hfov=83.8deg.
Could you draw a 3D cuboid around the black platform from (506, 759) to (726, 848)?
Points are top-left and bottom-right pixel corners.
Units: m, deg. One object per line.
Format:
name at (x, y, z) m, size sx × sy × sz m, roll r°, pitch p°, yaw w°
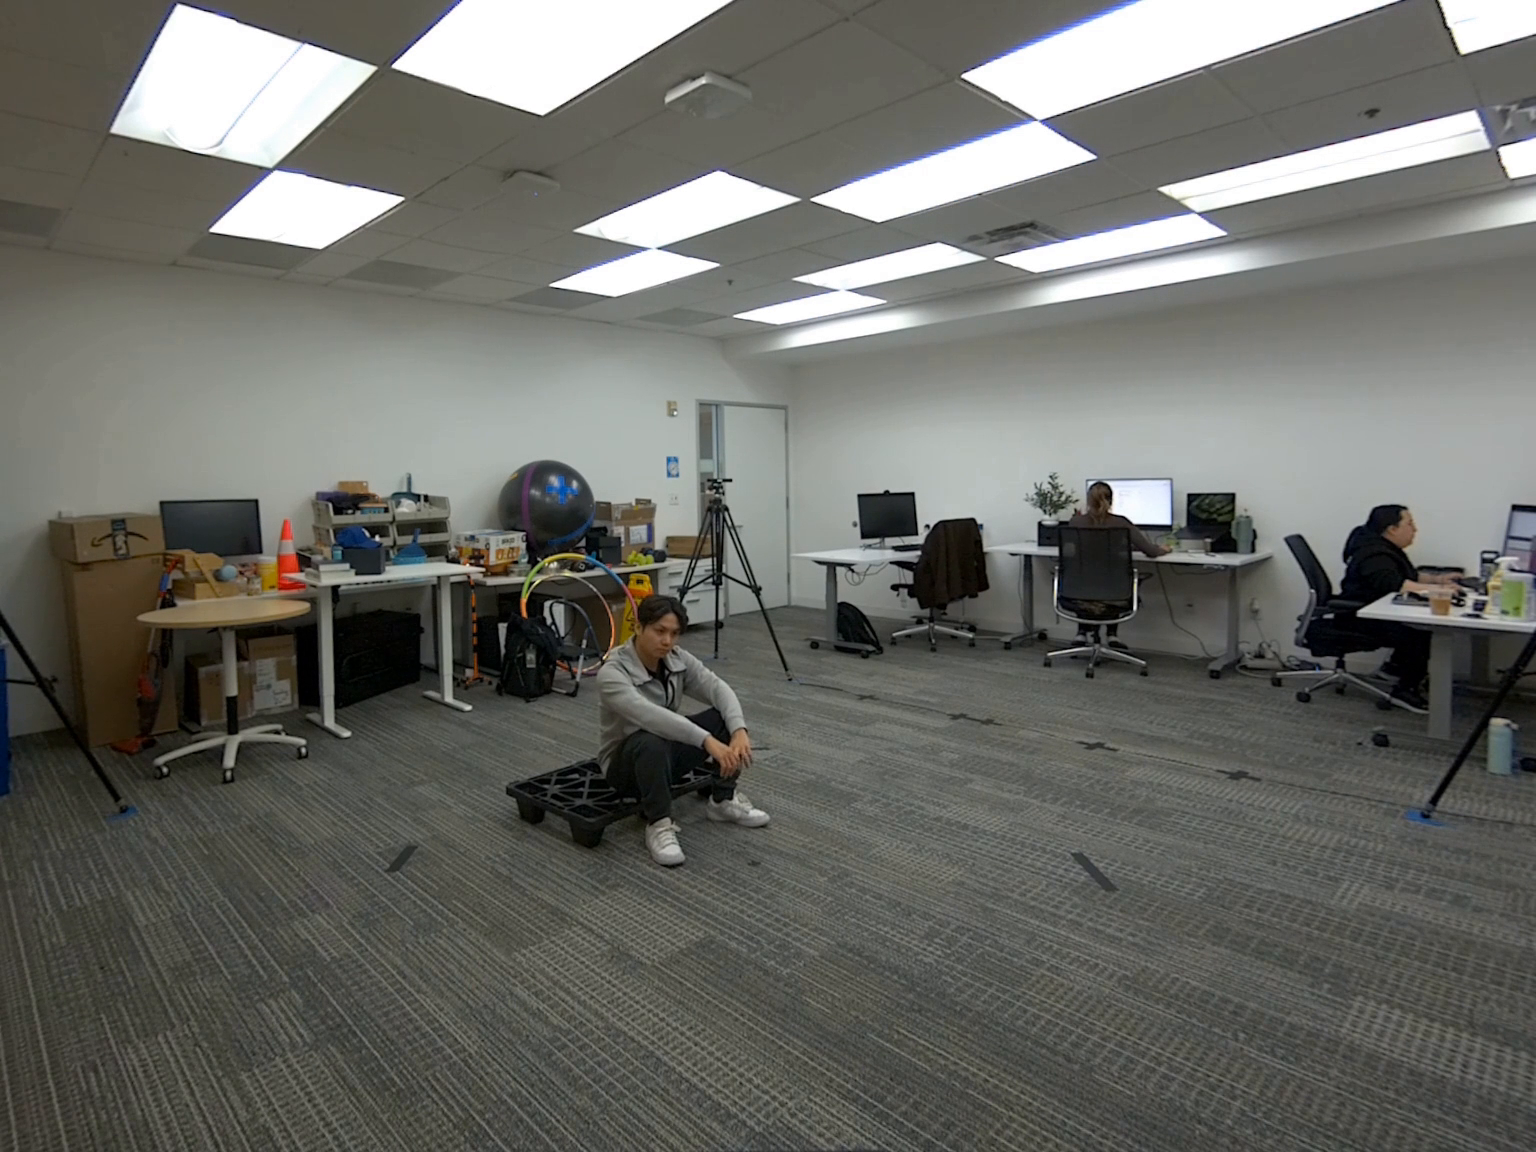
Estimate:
black platform at (-0.606, 0.923, 3.664) m, size 0.624 × 0.142 × 0.785 m, roll 5°, pitch 9°, yaw 42°
